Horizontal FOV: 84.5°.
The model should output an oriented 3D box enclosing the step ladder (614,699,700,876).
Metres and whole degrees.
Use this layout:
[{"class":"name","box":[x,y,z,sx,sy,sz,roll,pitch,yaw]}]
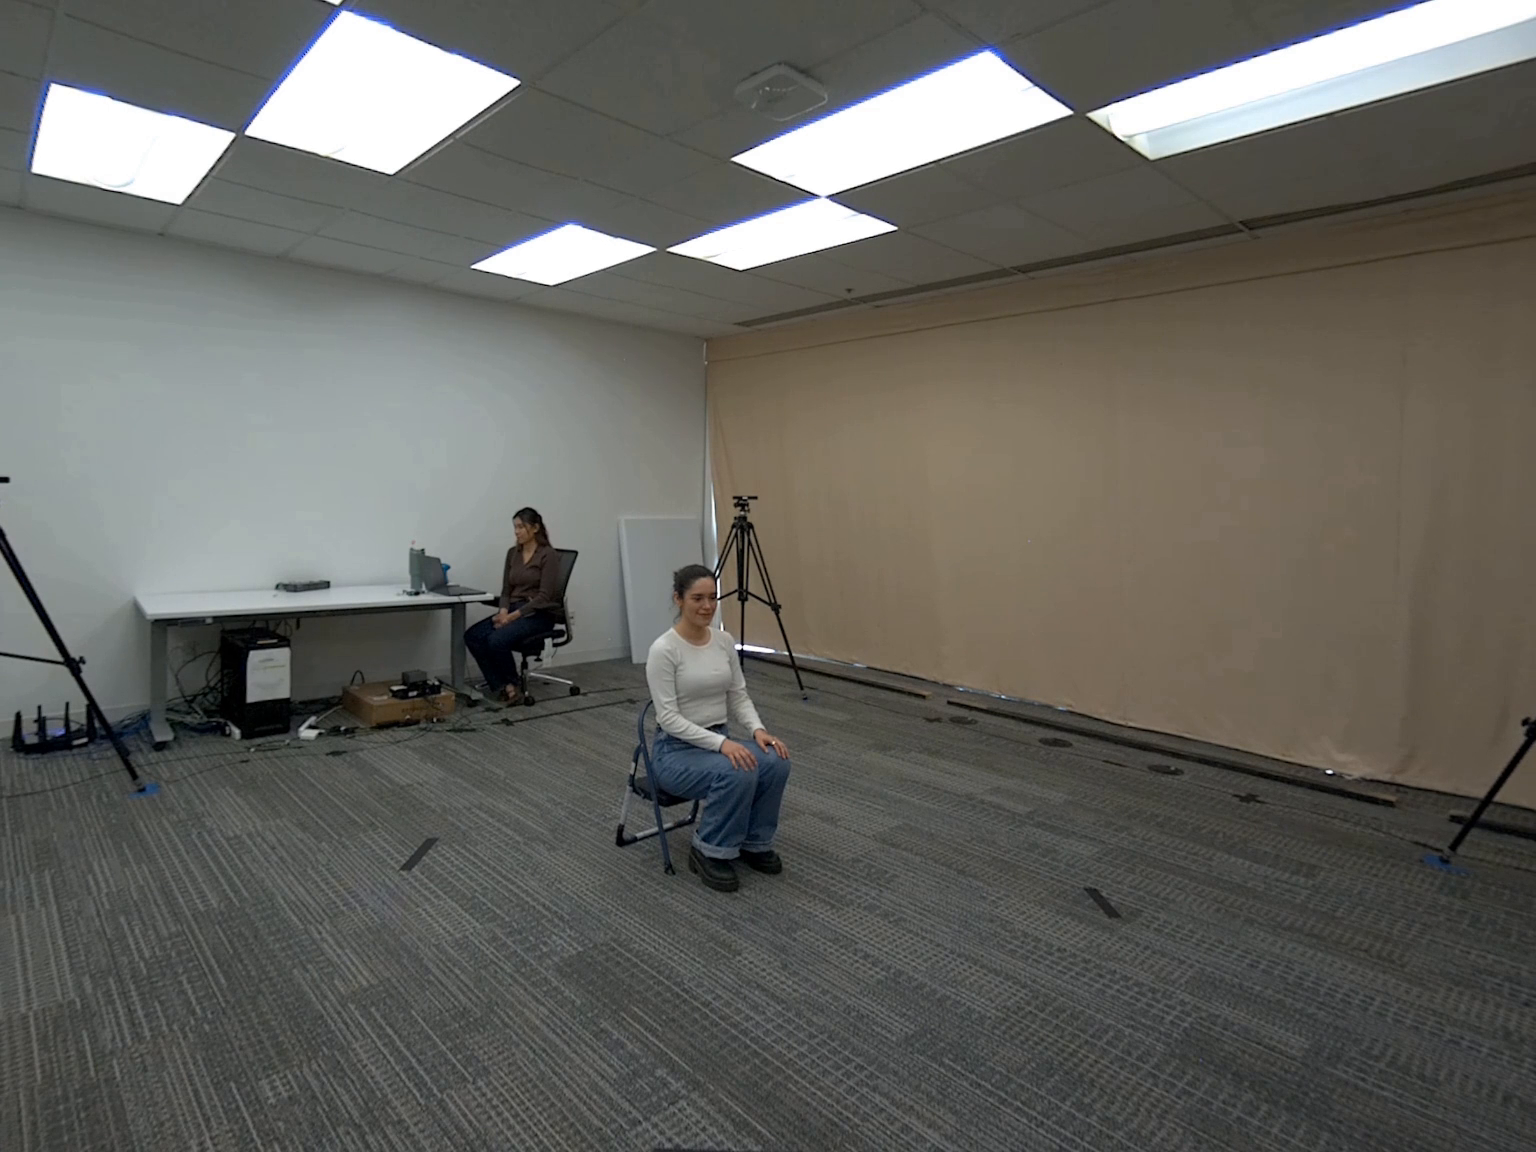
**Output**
[{"class":"step ladder","box":[-0.342,0.771,3.348,0.358,0.605,0.421,5,4,44]}]
